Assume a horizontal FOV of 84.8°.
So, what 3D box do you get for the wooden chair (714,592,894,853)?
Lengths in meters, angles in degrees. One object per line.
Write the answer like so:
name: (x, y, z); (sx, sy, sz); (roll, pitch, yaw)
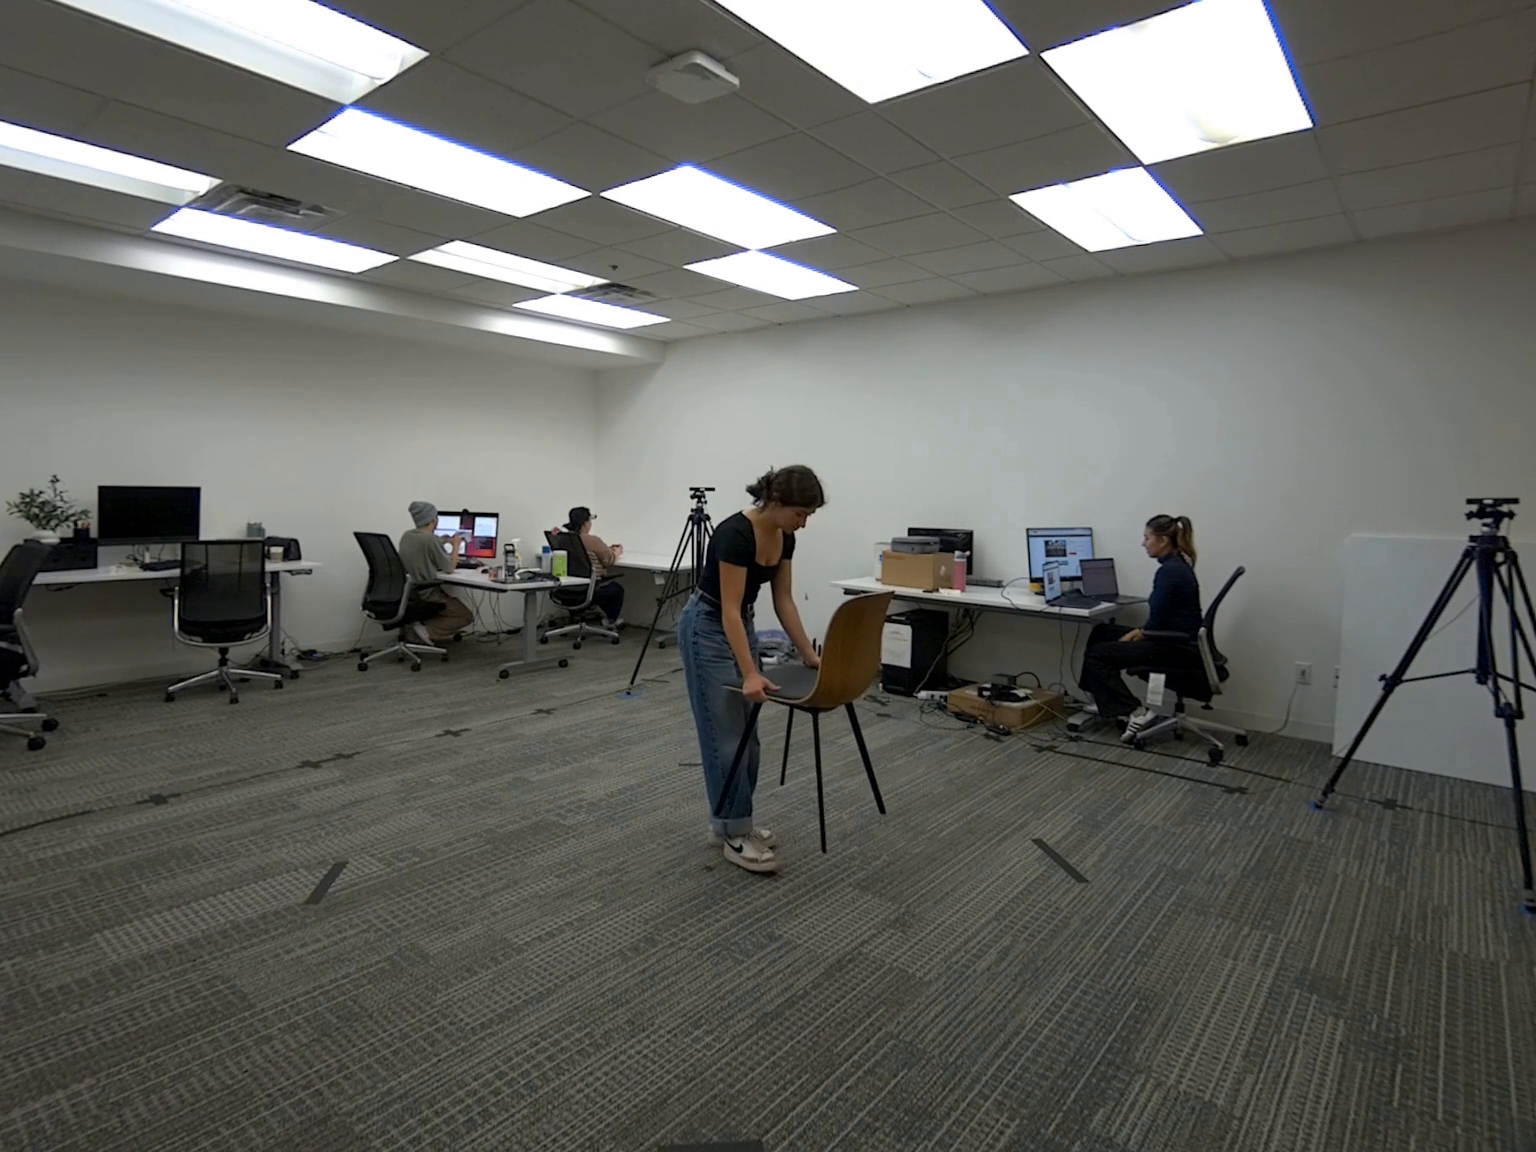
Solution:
wooden chair: (0.130, 0.445, 3.037); (0.541, 0.872, 0.464); (10, 8, 34)
